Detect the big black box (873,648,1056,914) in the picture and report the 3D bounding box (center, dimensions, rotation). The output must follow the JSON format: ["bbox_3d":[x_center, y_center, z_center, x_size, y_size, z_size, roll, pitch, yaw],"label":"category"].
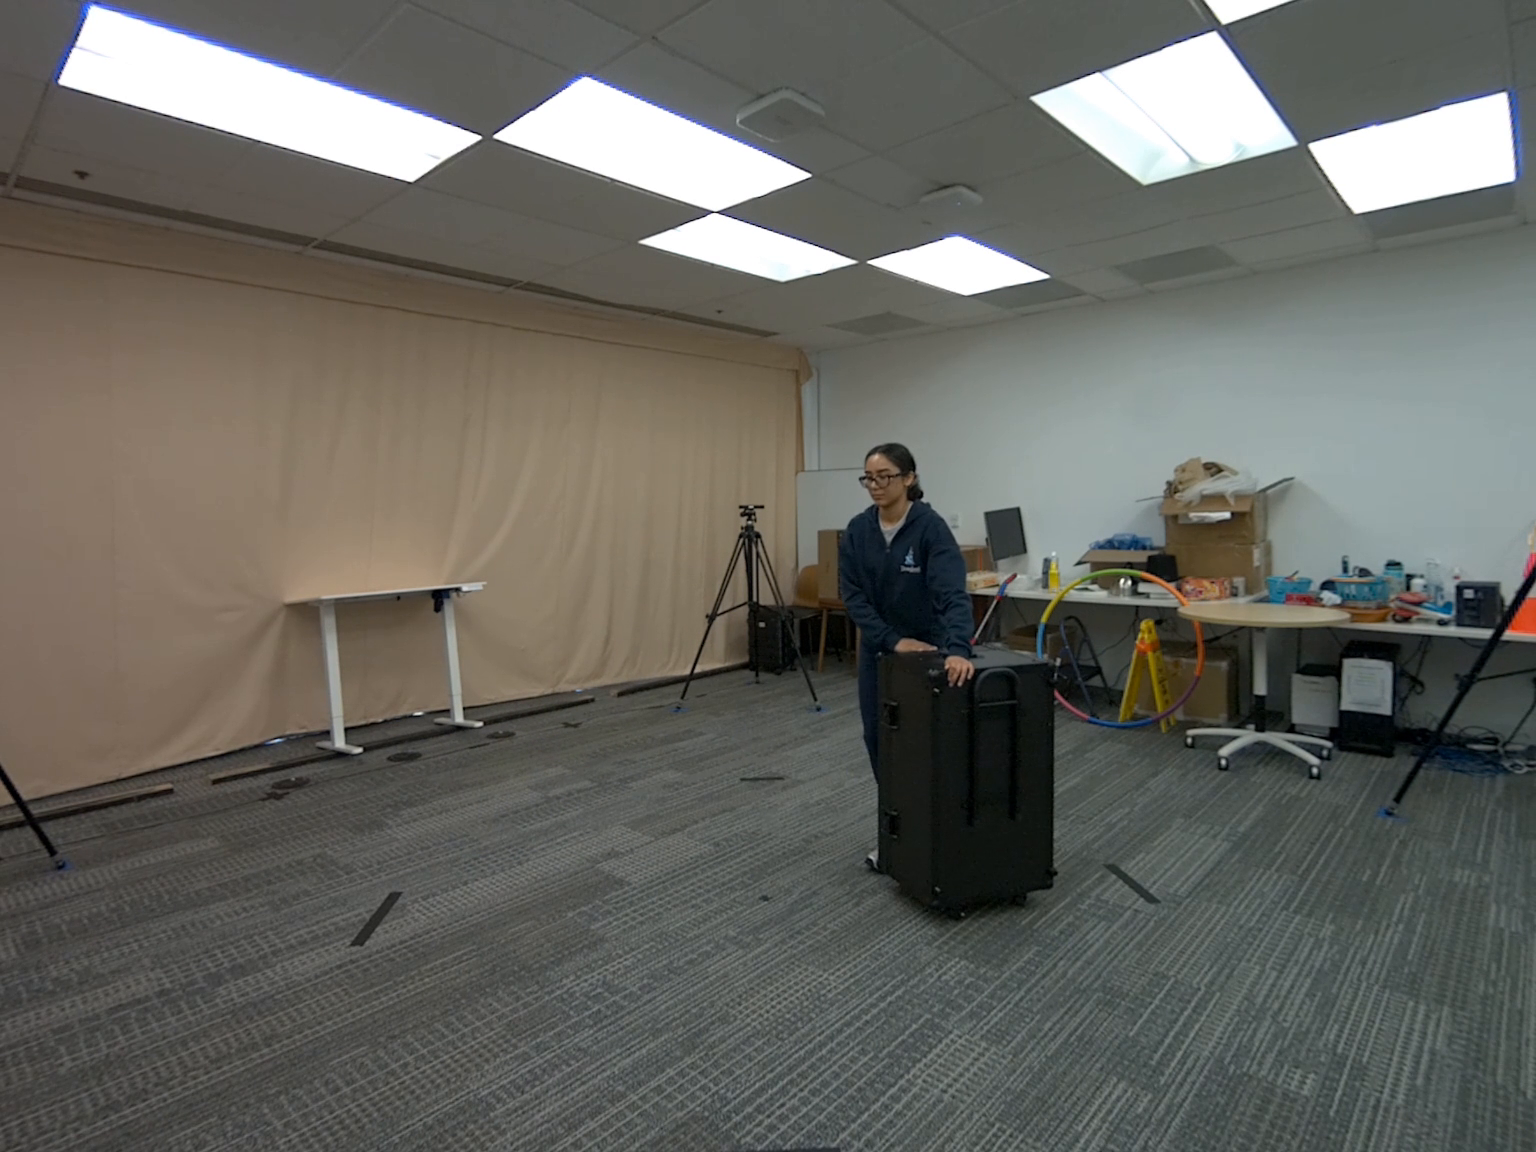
[{"bbox_3d":[0.693,0.708,2.939,0.511,0.859,0.405,-2,5,-20],"label":"big black box"}]
